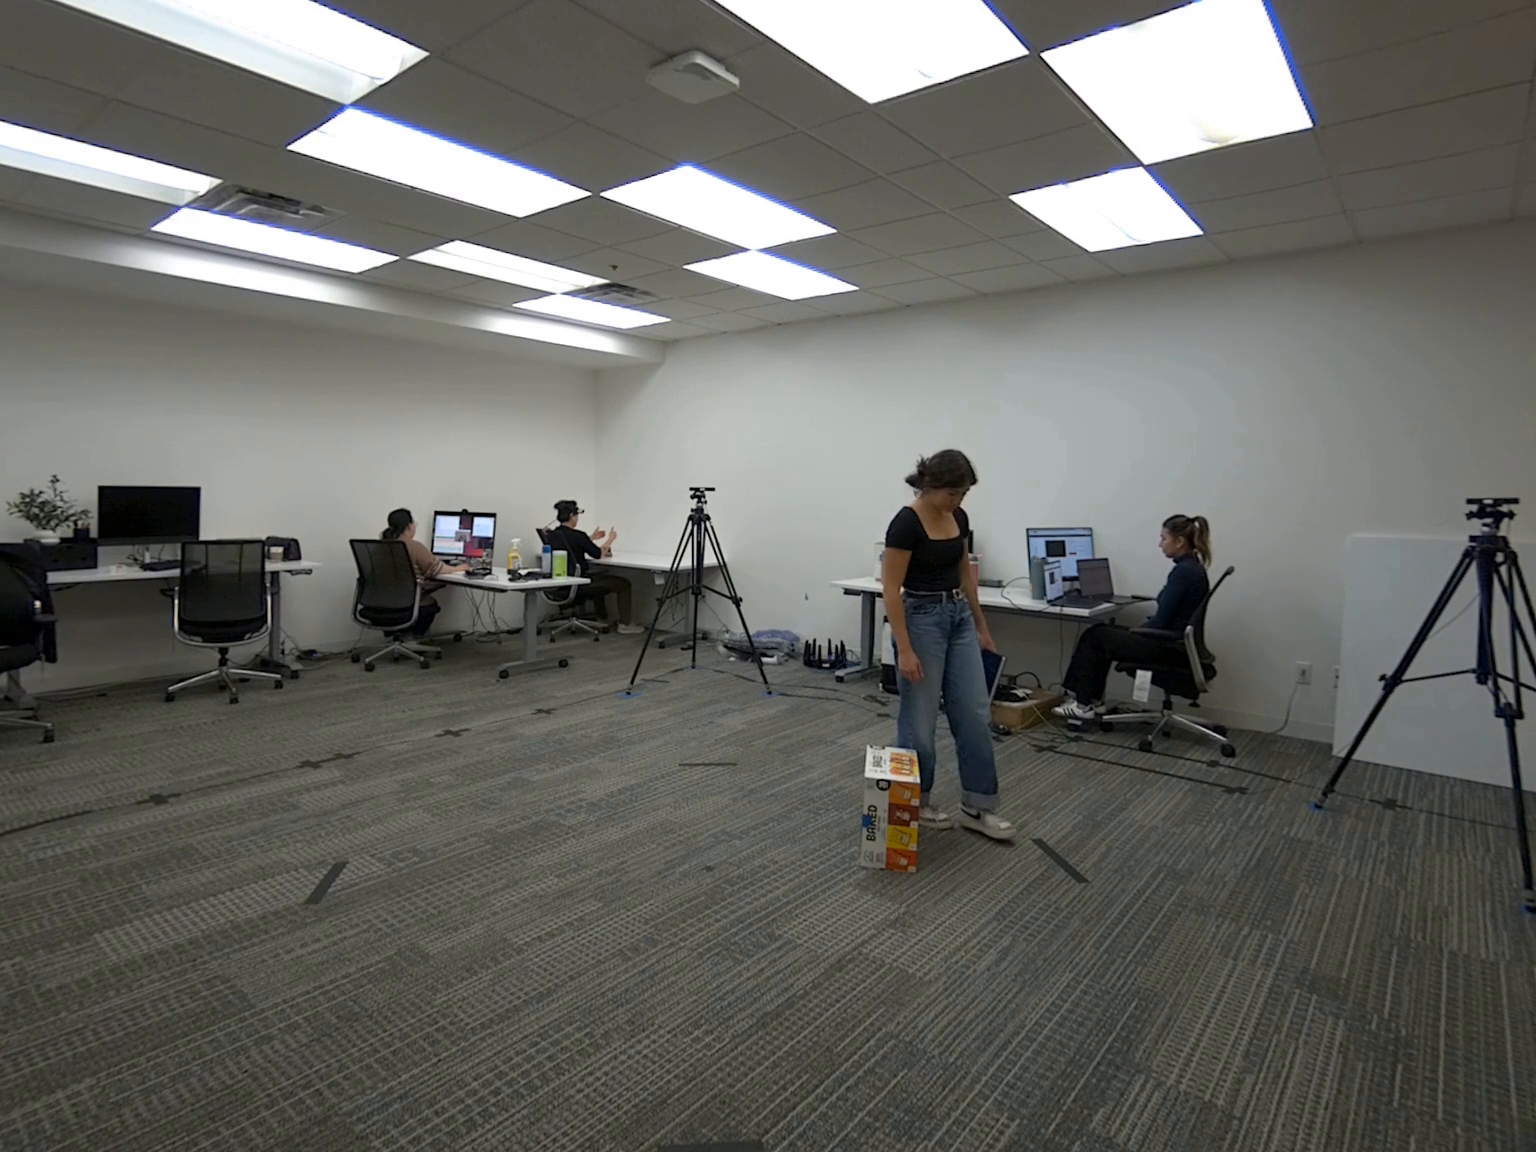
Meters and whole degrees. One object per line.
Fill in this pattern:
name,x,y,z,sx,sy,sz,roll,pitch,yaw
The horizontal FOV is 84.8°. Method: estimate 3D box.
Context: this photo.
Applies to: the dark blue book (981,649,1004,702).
dark blue book,0.892,0.430,3.607,0.043,0.244,0.170,13,6,-46
